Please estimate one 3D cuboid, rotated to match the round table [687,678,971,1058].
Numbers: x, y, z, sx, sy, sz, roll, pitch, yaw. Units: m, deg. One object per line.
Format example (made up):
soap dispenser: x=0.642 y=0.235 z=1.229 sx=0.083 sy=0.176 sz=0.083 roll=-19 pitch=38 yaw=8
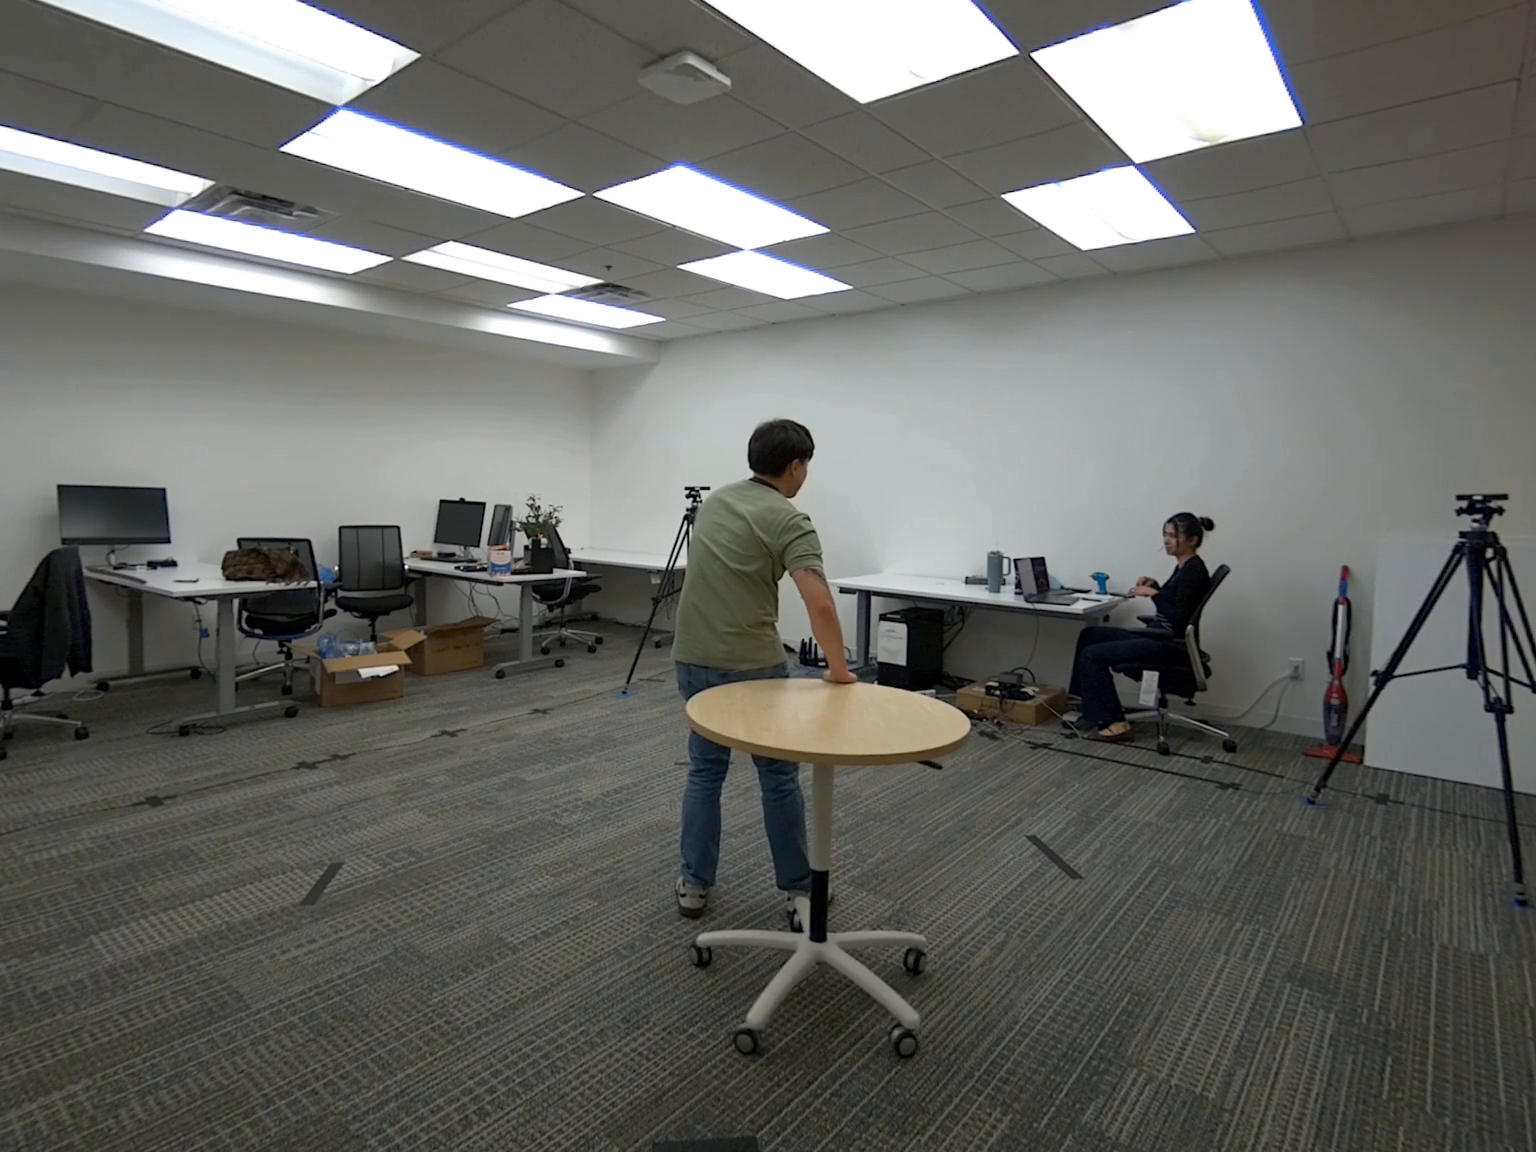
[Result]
round table: x=0.141 y=0.755 z=2.366 sx=0.763 sy=0.791 sz=0.768 roll=2 pitch=5 yaw=-2
